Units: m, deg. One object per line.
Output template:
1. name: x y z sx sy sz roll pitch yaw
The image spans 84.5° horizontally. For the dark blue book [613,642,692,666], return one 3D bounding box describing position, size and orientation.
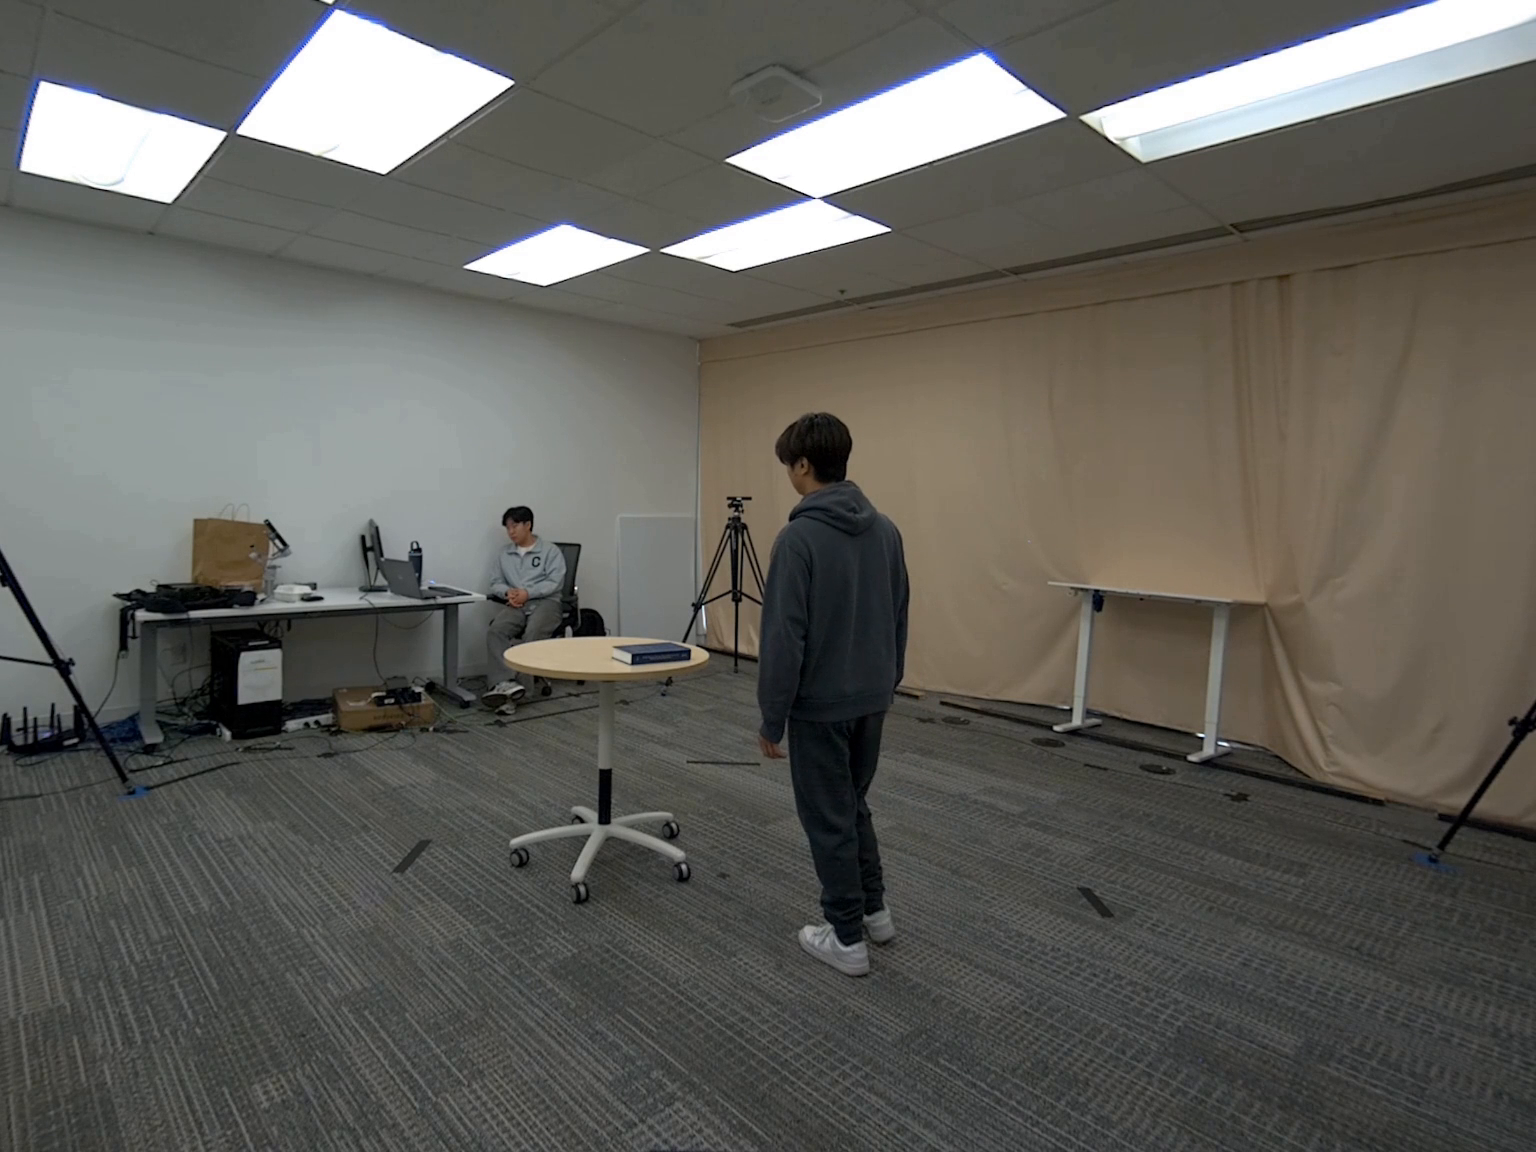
1. dark blue book: -0.437 0.287 3.081 0.240 0.045 0.167 -2 6 -35
